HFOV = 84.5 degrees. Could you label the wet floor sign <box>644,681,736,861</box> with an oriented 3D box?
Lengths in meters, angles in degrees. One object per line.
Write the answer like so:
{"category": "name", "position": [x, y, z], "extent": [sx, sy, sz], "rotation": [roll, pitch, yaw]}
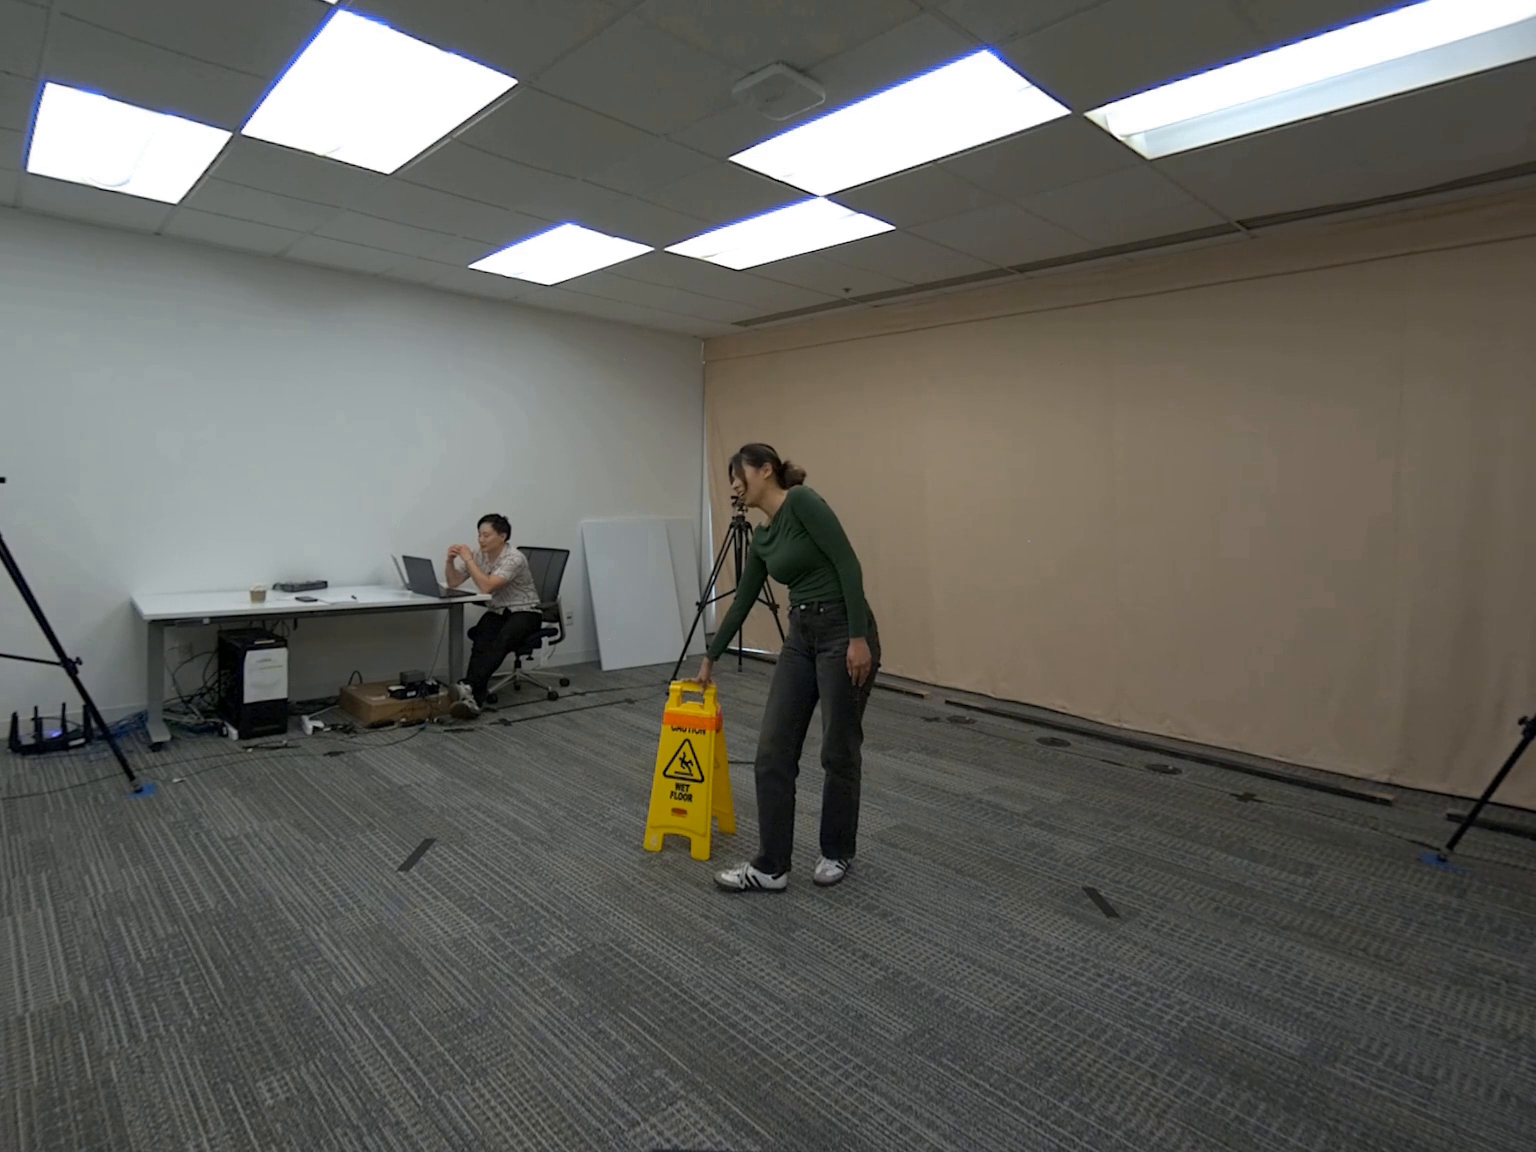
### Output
{"category": "wet floor sign", "position": [-0.315, 0.751, 3.387], "extent": [0.287, 0.644, 0.286], "rotation": [1, 4, 20]}
